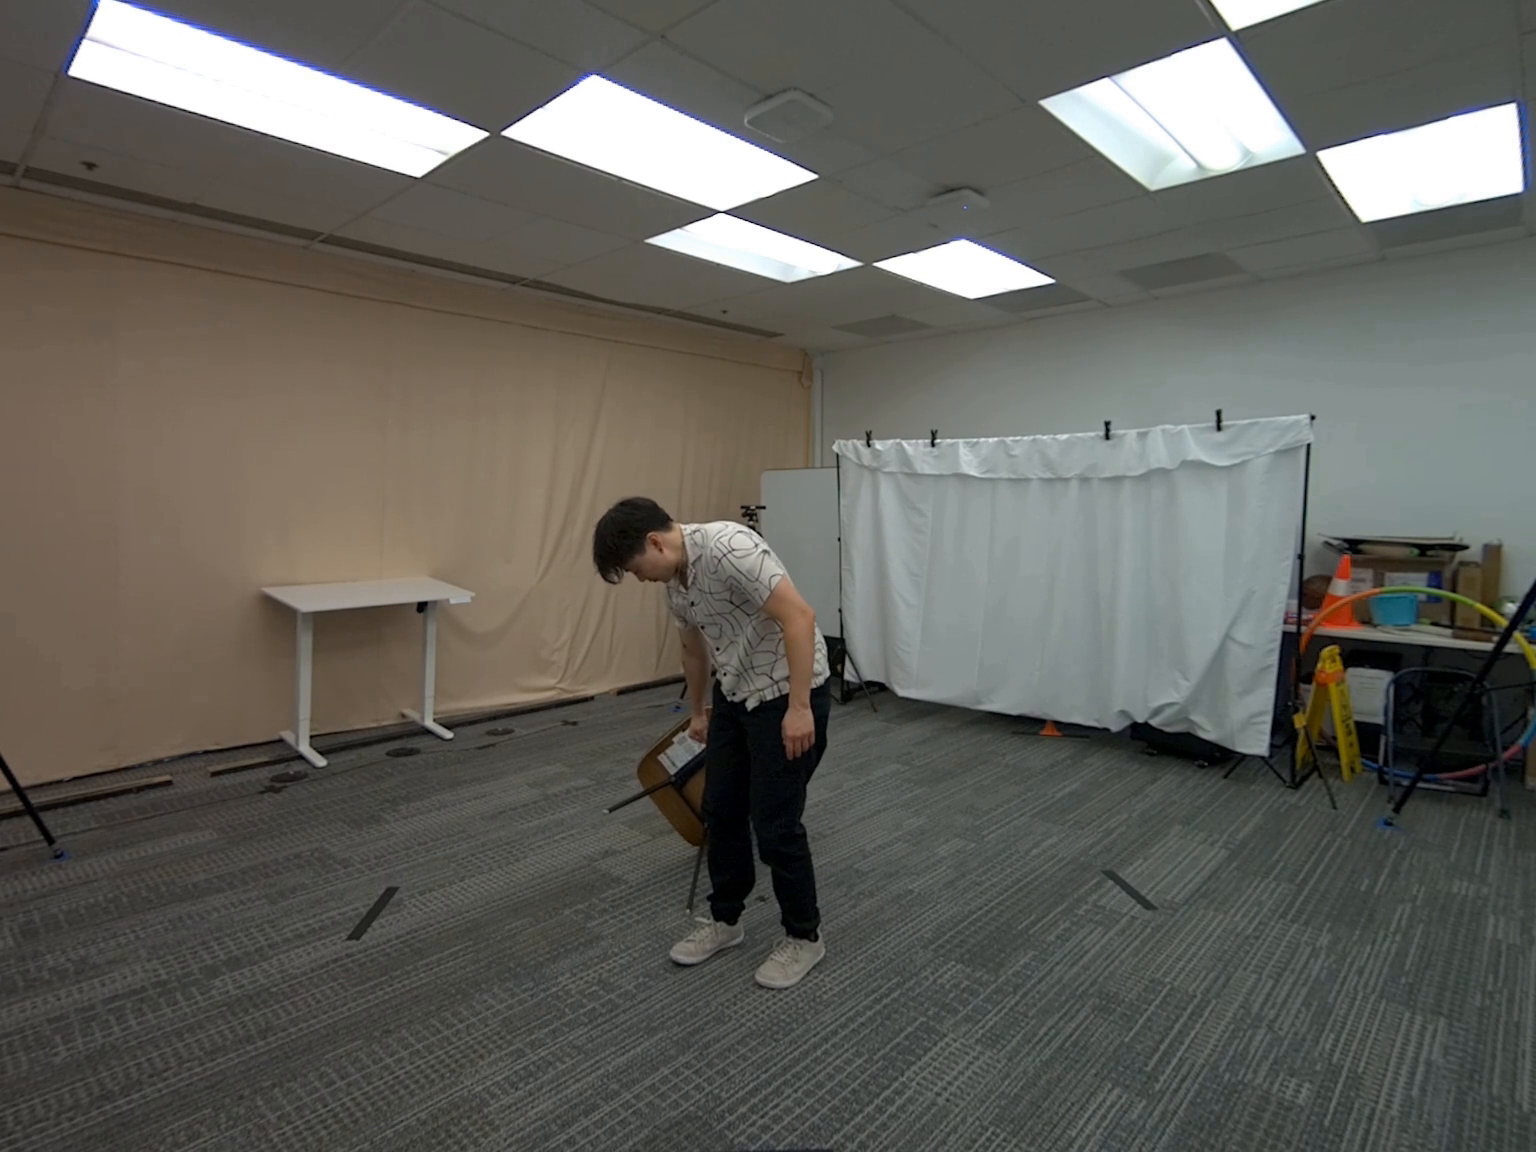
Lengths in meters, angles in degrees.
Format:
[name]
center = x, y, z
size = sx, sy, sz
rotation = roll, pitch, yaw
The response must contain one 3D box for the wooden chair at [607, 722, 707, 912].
[wooden chair]
center = -0.232, 0.820, 3.266
size = 0.479, 0.528, 0.867
rotation = -41, -6, 6
